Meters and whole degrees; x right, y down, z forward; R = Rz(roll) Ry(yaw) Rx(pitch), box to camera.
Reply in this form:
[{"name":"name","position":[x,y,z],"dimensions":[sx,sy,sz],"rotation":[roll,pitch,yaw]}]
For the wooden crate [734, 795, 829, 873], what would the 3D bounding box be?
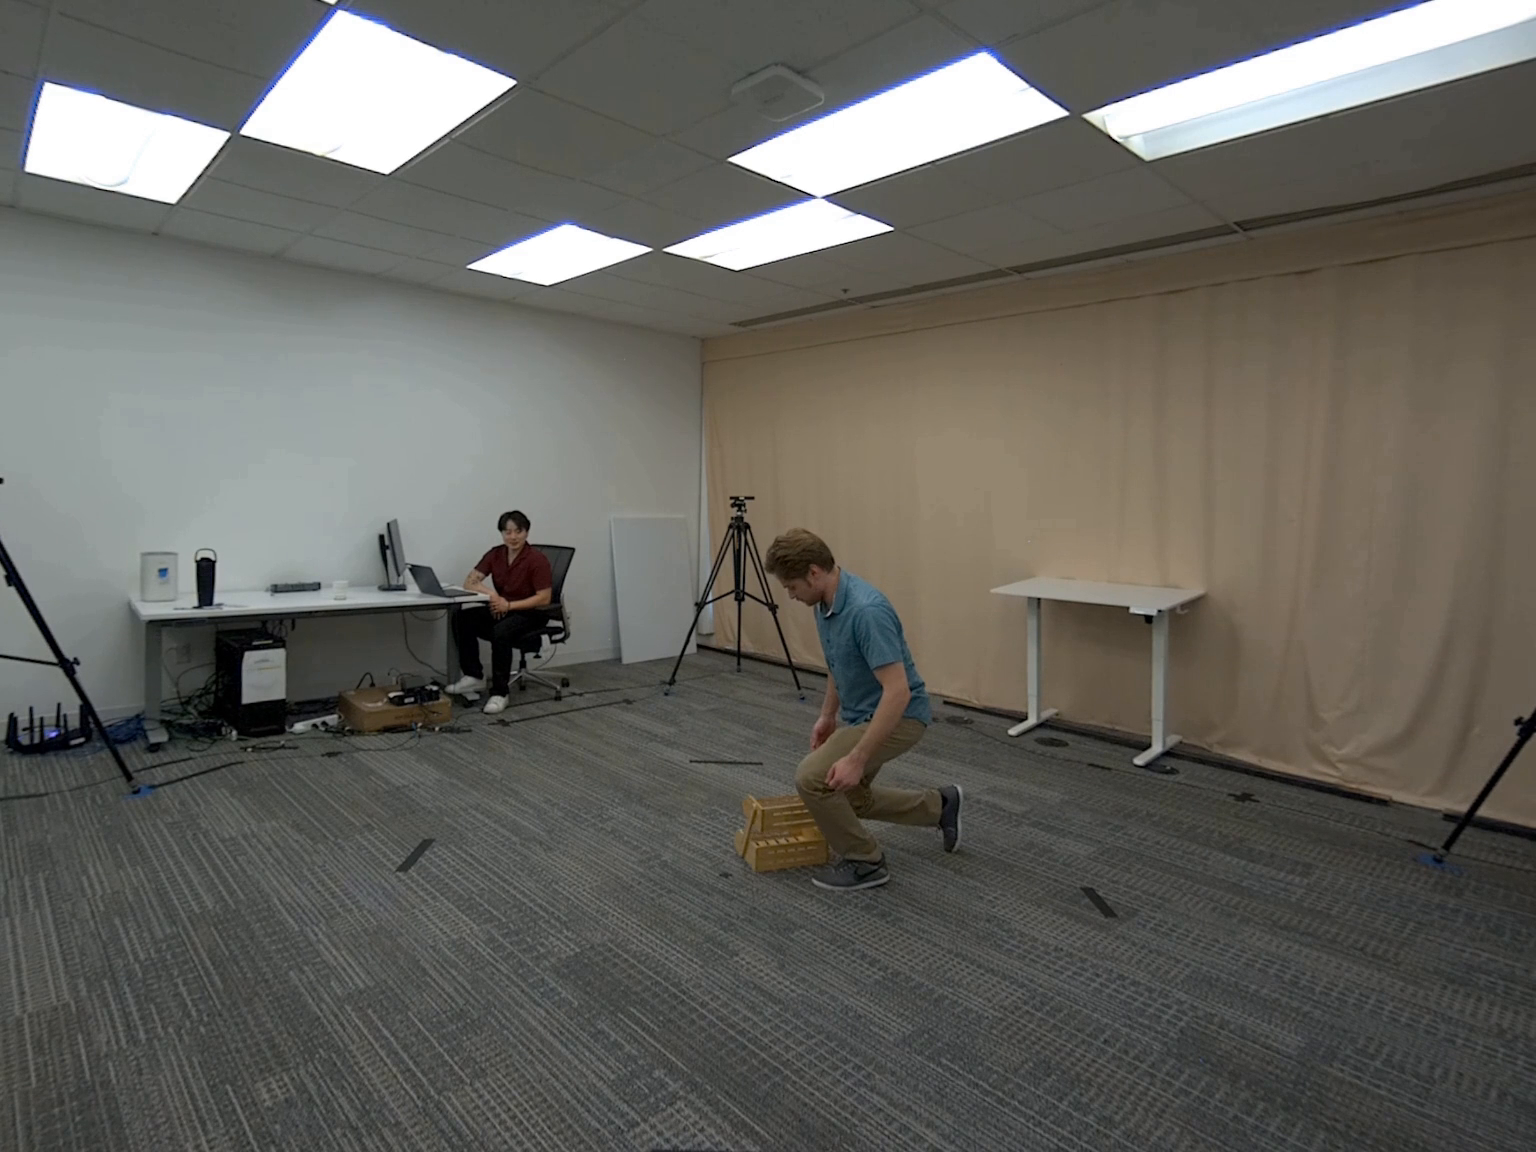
[{"name":"wooden crate","position":[0.046,0.955,3.265],"dimensions":[0.319,0.272,0.307],"rotation":[0,5,-21]}]
